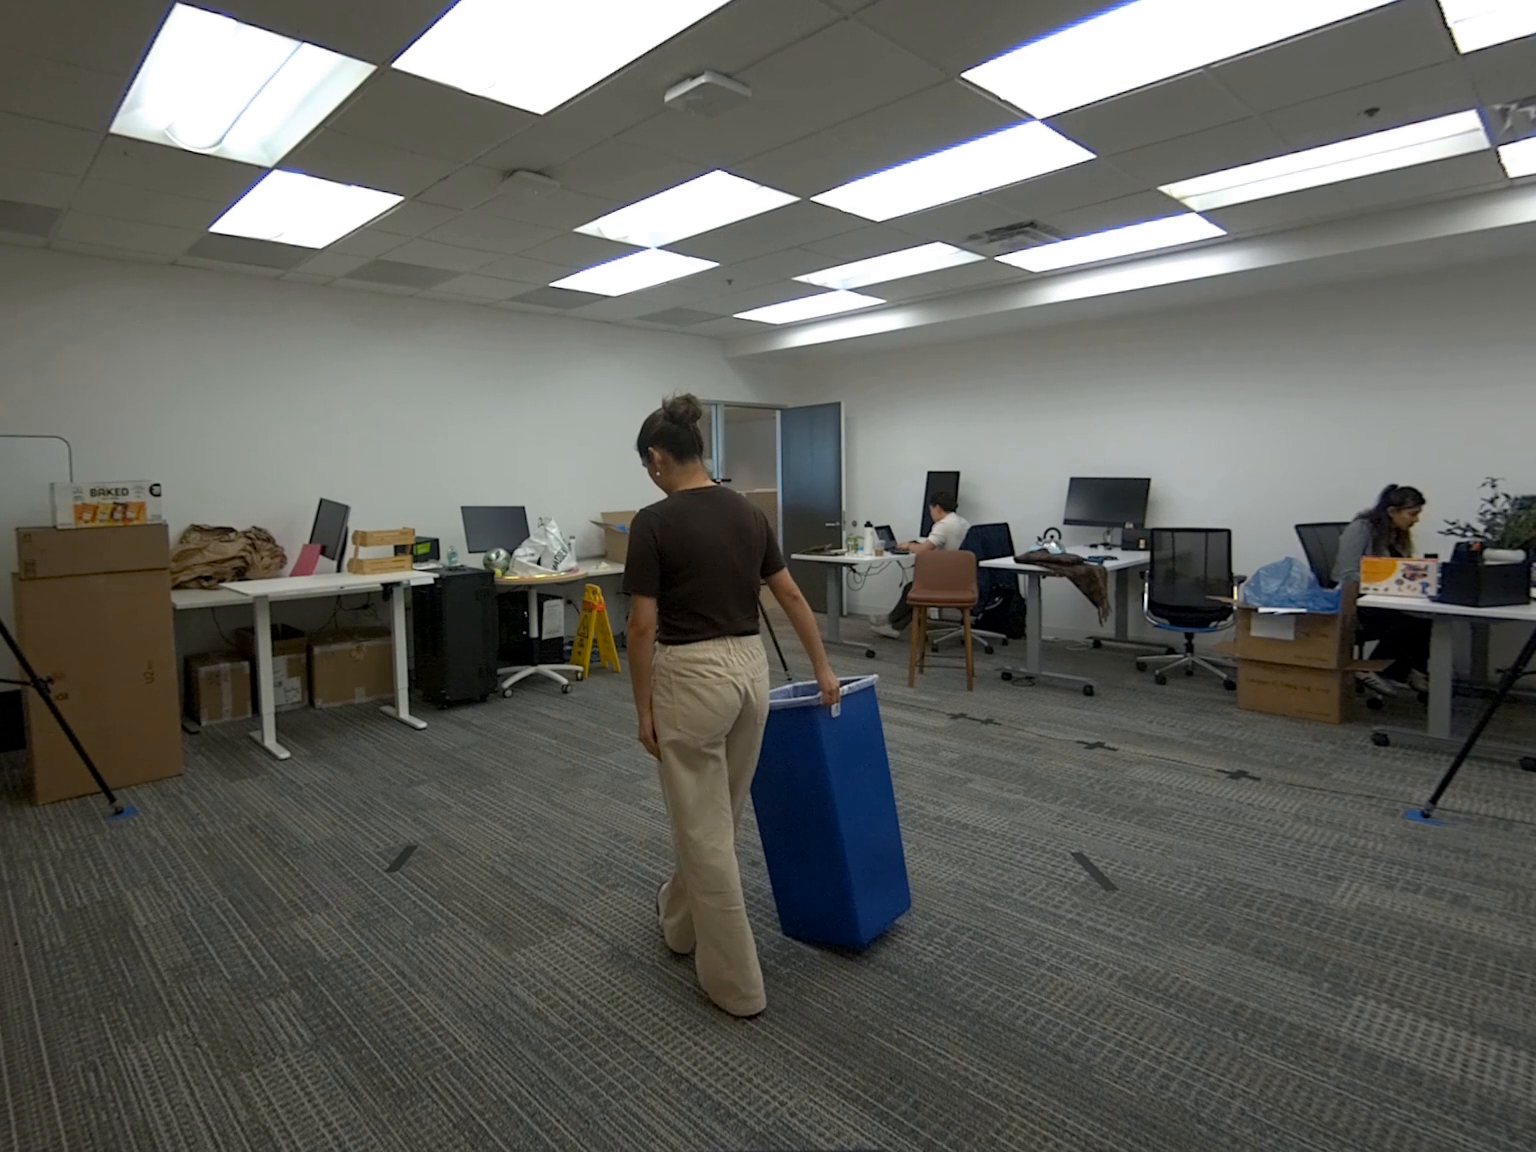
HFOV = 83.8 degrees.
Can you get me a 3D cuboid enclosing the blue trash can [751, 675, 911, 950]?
[{"bbox_3d":[0.176,0.713,2.669,0.382,0.717,0.368,-14,-6,41],"label":"blue trash can"}]
